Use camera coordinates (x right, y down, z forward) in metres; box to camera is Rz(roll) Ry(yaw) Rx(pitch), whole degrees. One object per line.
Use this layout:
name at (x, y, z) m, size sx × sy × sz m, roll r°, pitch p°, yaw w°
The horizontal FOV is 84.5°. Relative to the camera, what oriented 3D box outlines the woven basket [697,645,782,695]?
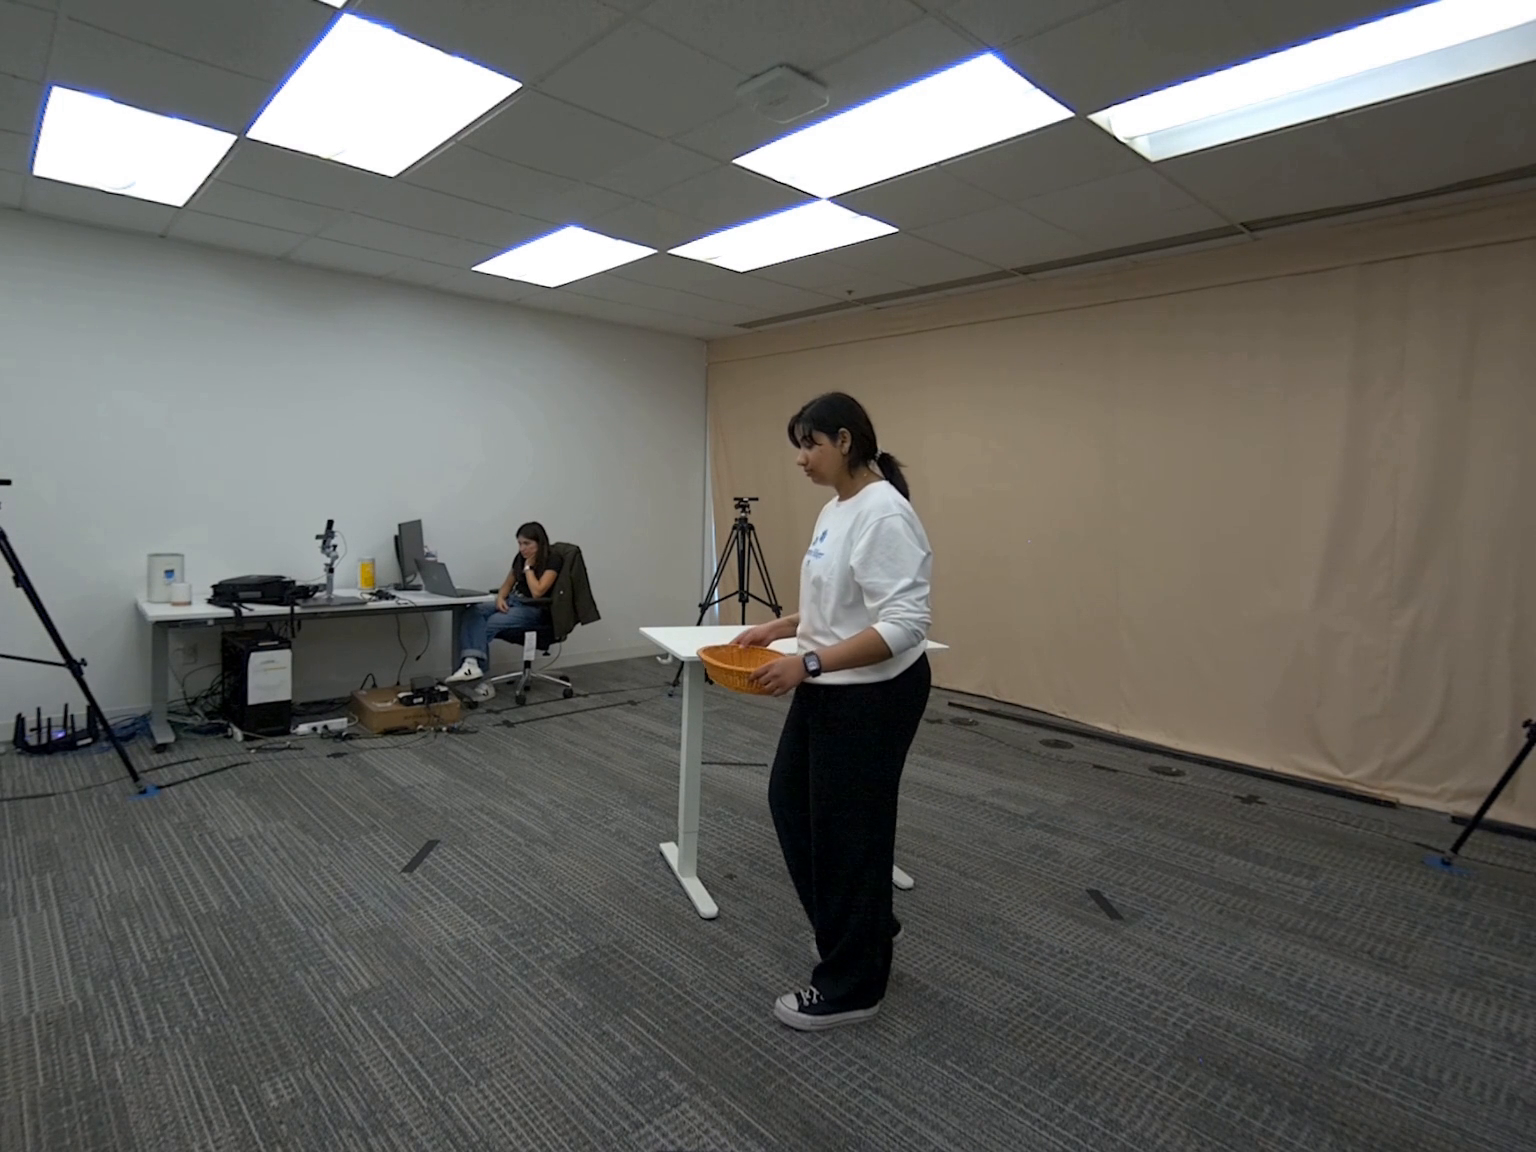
woven basket at (-0.039, 0.254, 2.217) m, size 0.250 × 0.073 × 0.355 m, roll 3°, pitch 5°, yaw -14°
